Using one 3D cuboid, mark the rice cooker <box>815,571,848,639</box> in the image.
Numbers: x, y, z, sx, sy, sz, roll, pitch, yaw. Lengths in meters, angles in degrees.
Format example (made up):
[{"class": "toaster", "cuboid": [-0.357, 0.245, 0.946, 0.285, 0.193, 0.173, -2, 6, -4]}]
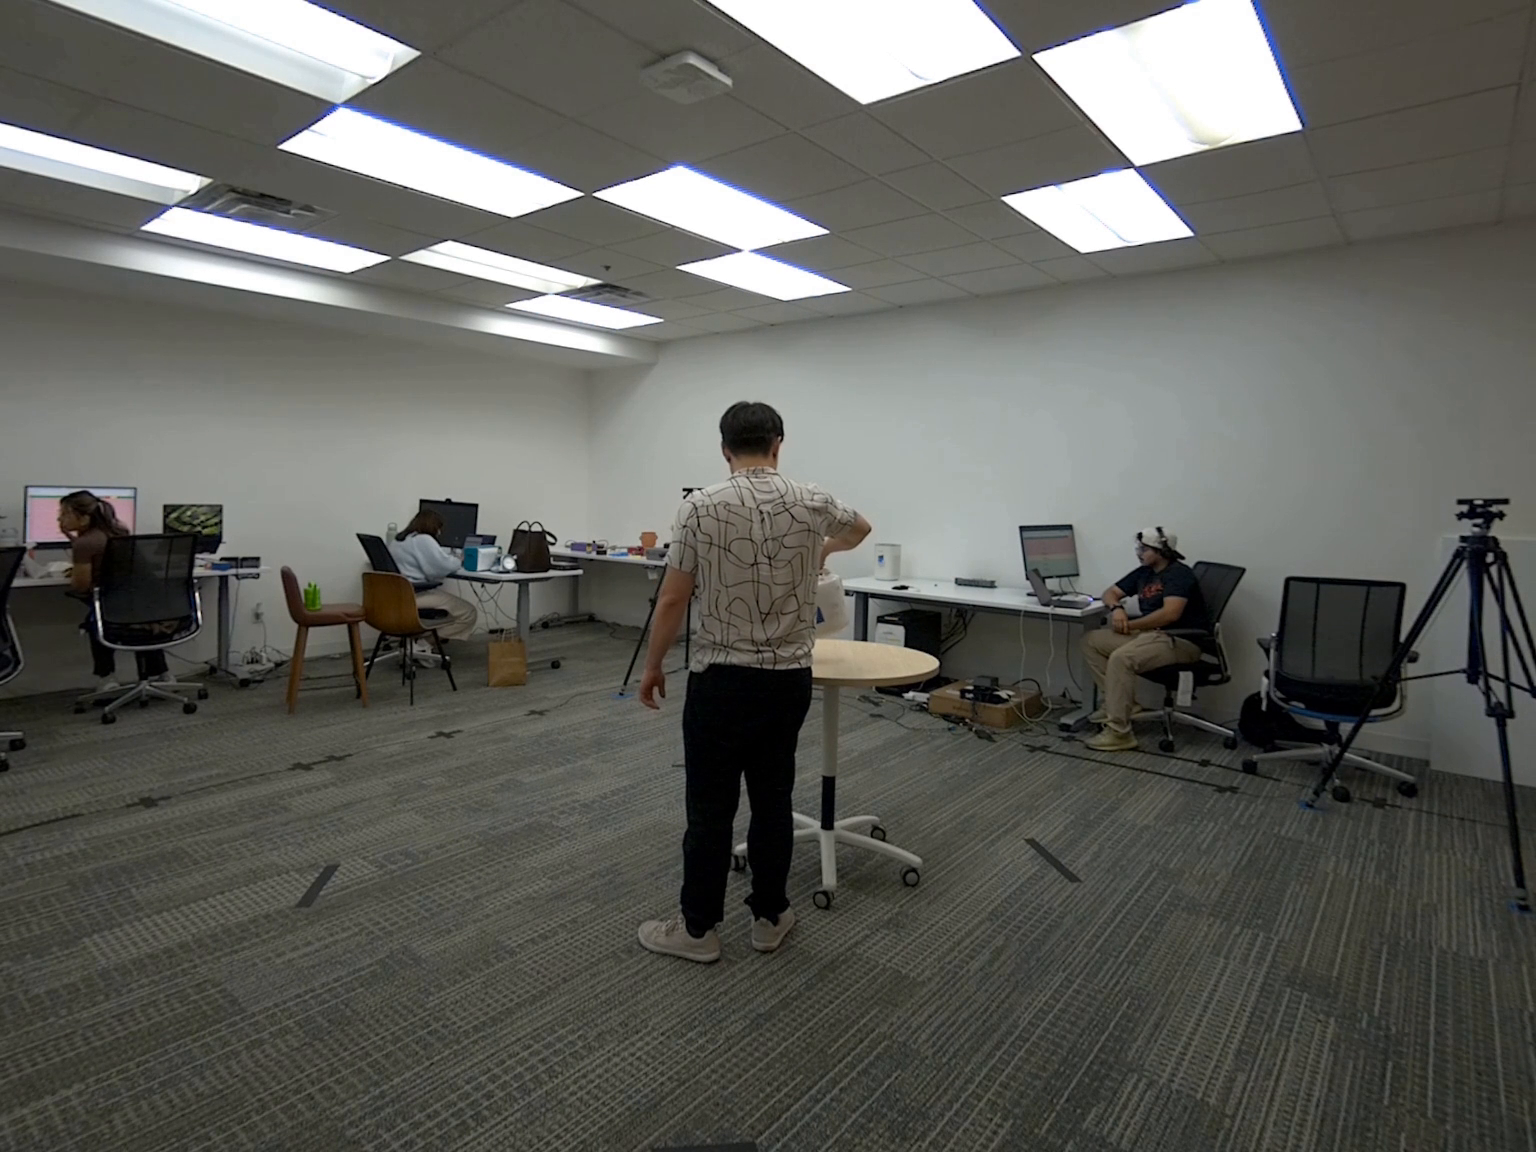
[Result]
[{"class": "rice cooker", "cuboid": [0.164, 0.086, 3.041, 0.220, 0.231, 0.220, -13, 7, -4]}]
